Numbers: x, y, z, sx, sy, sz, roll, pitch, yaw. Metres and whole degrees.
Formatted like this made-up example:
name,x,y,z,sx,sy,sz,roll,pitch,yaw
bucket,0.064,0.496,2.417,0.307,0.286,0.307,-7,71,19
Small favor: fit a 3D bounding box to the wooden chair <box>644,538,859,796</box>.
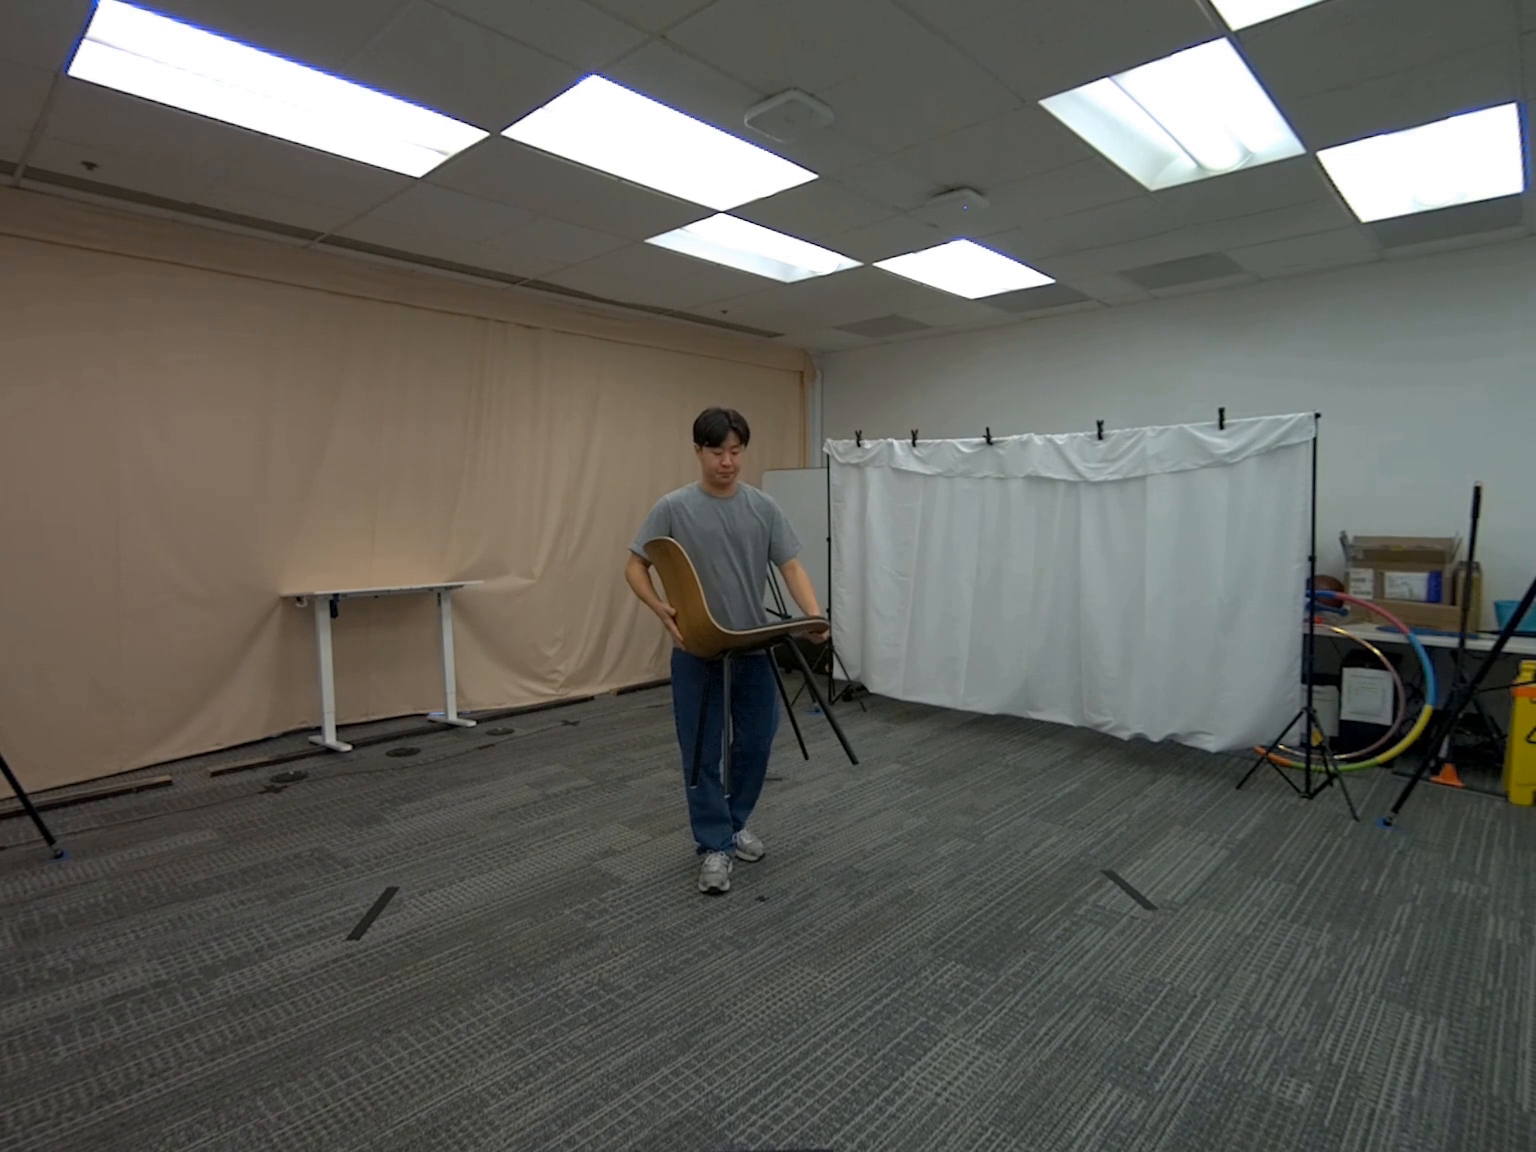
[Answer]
name,x,y,z,sx,sy,sz,roll,pitch,yaw
wooden chair,-0.061,0.262,2.883,0.515,0.883,0.483,-13,-7,-19
